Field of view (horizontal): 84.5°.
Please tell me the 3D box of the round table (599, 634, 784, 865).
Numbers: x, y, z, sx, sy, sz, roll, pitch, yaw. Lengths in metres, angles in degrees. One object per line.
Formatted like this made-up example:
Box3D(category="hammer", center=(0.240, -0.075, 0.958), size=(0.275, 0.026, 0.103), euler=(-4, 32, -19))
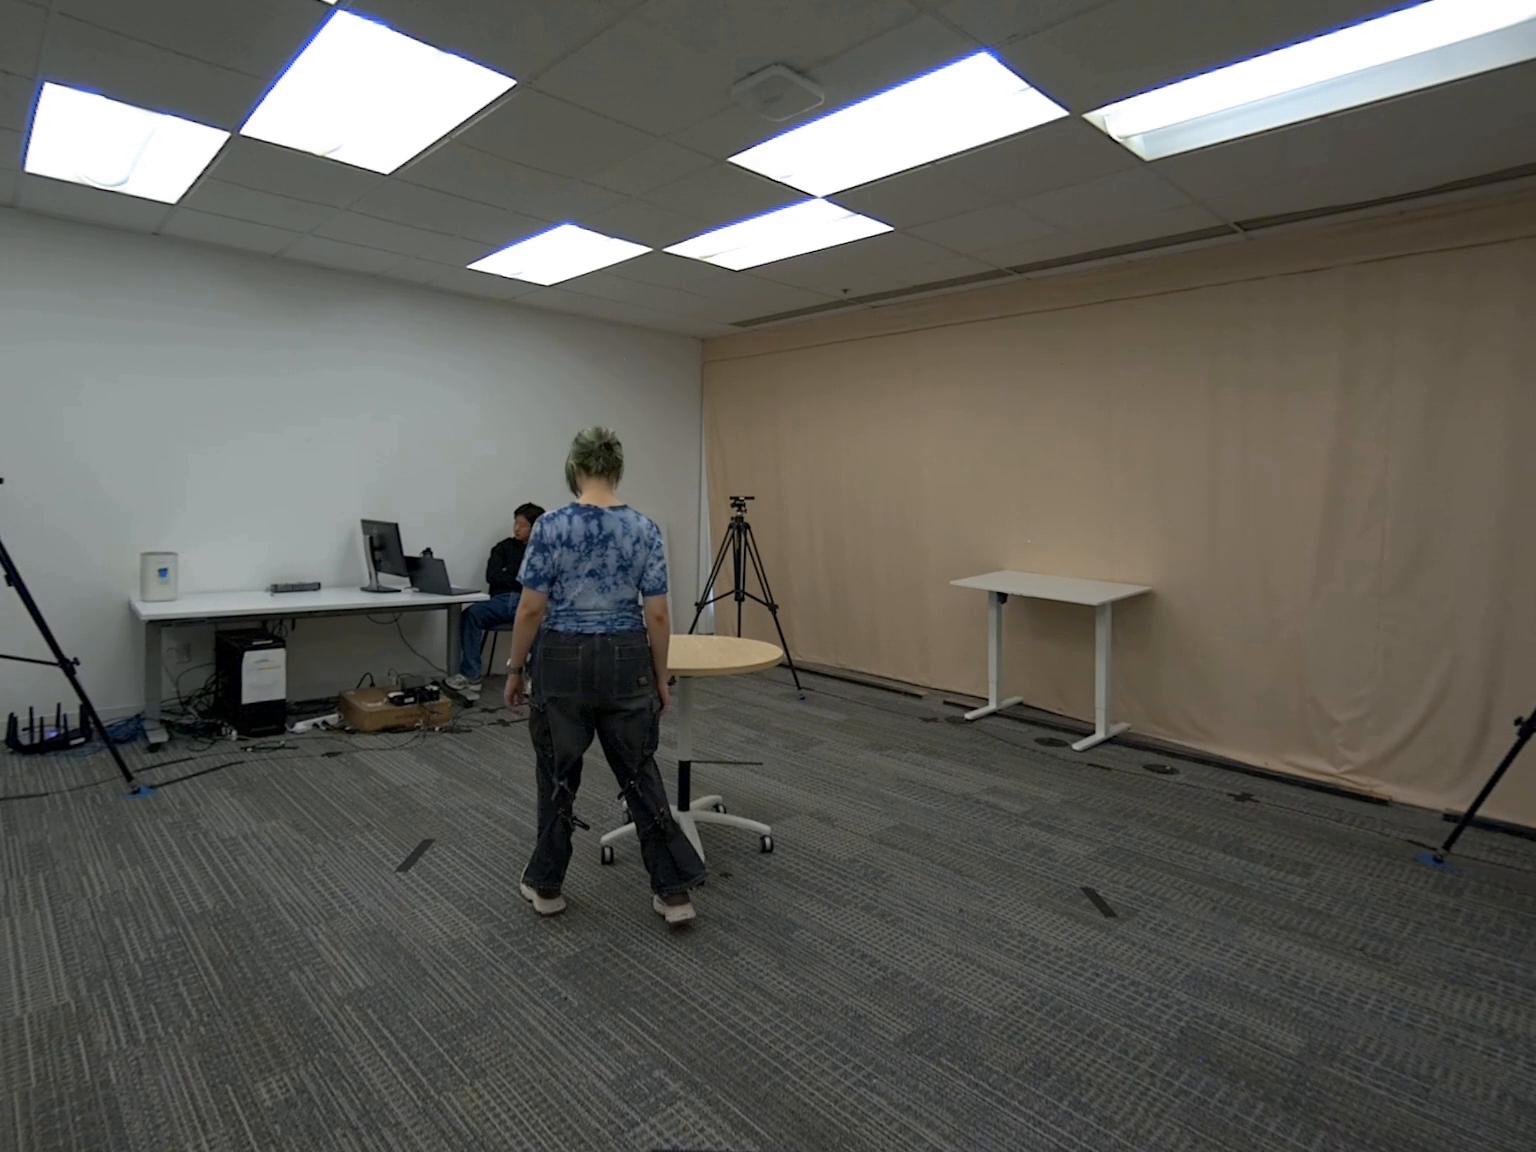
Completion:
Box3D(category="round table", center=(-0.337, 0.688, 3.354), size=(0.763, 0.792, 0.766), euler=(1, 4, -1))
